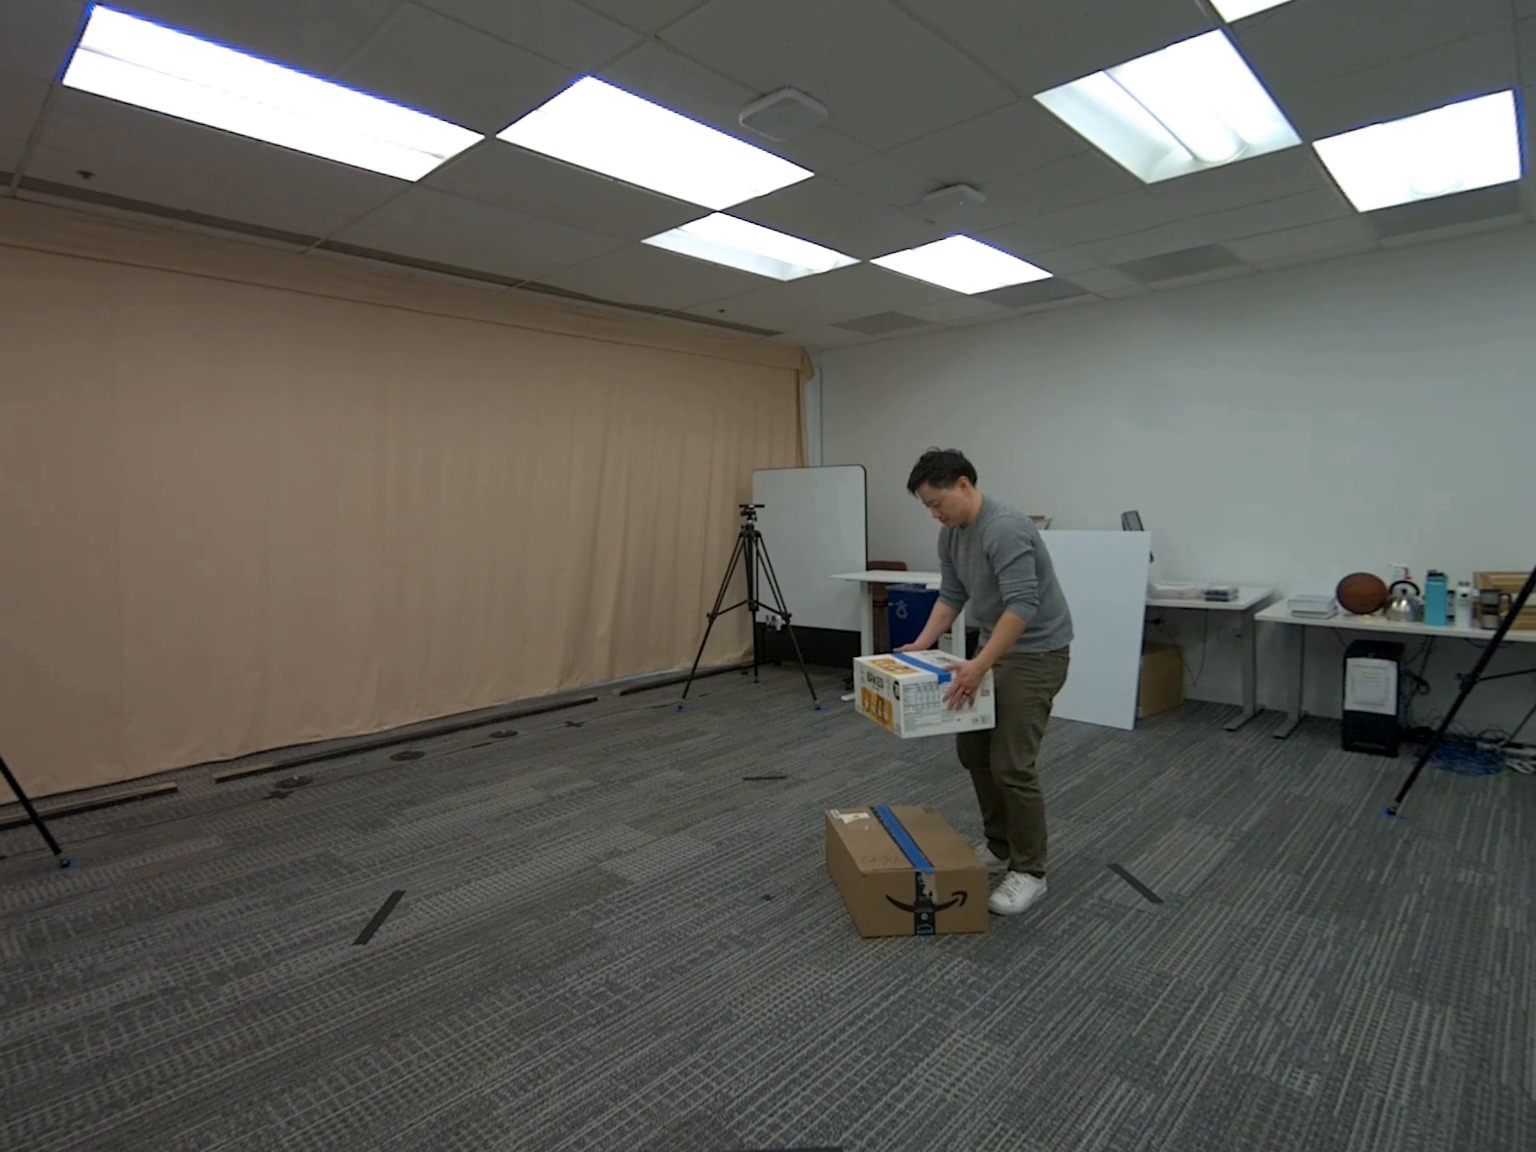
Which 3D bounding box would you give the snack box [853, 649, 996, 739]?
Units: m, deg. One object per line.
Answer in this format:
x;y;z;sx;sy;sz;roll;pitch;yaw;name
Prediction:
0.546;0.416;2.993;0.335;0.205;0.412;-5;6;-15;snack box
